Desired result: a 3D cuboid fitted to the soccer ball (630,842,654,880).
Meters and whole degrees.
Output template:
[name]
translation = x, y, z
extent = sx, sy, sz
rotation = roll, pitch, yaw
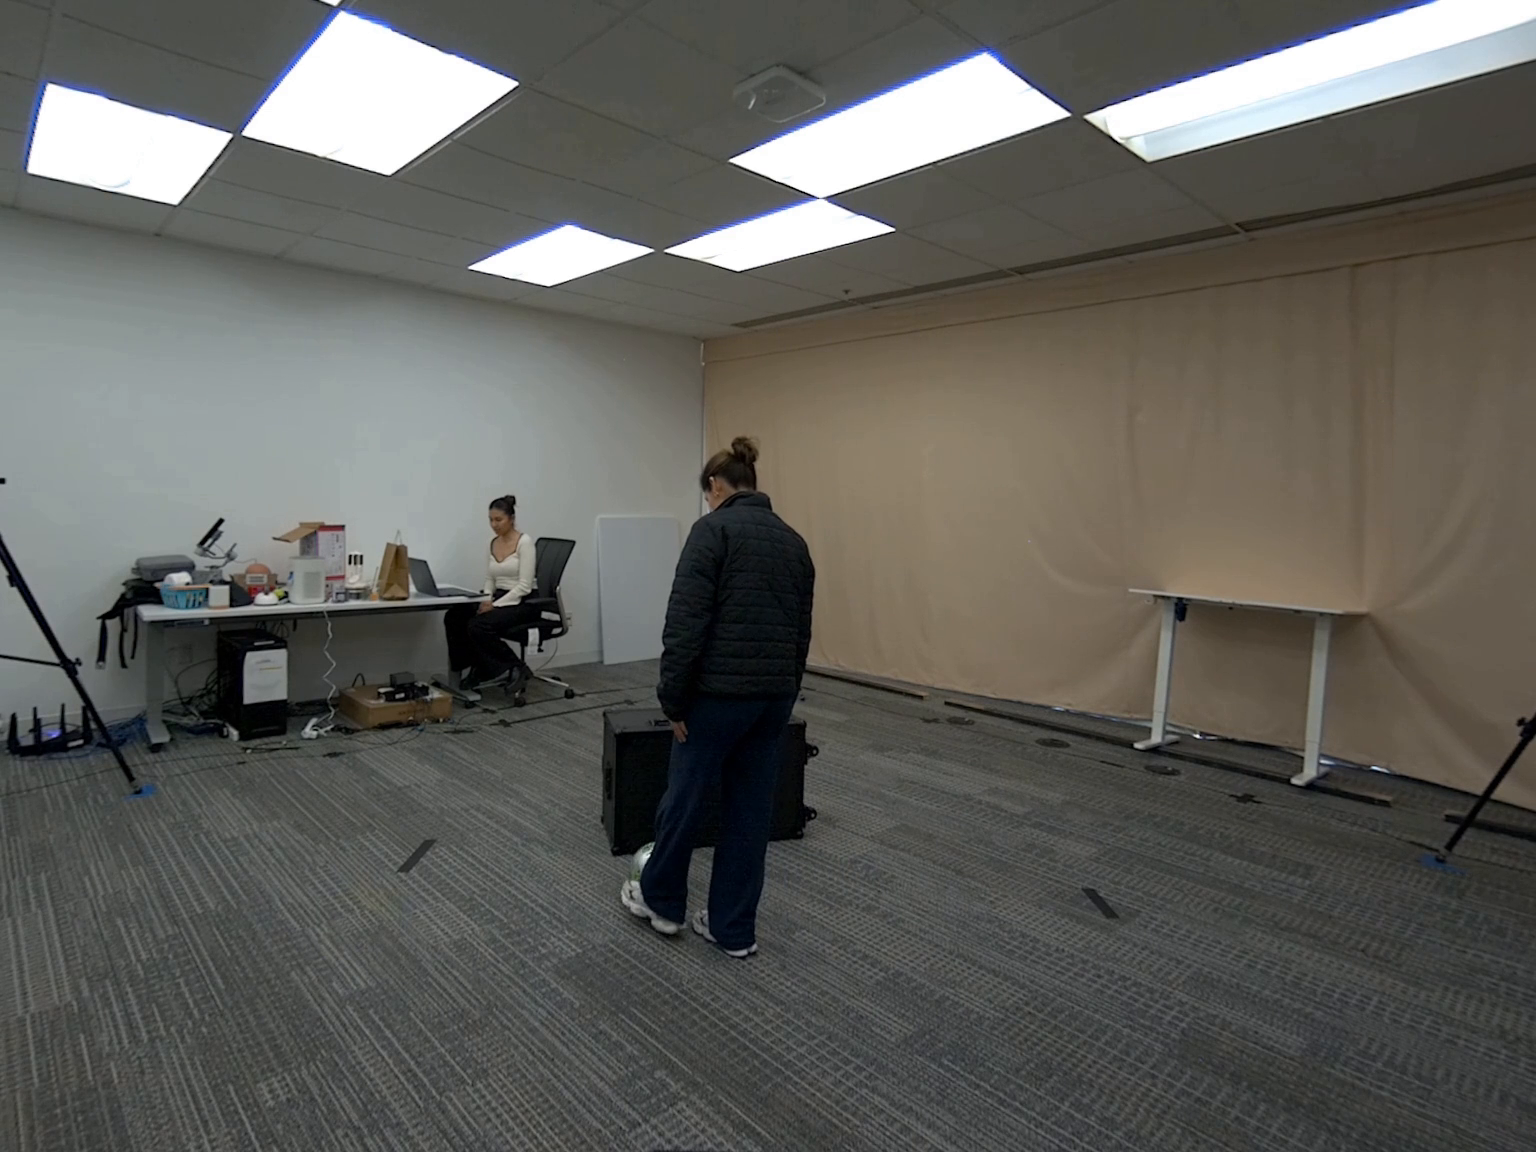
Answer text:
[soccer ball]
translation = -0.404, 1.031, 2.937
extent = 0.187, 0.187, 0.188
rotation = 1, 4, -1
